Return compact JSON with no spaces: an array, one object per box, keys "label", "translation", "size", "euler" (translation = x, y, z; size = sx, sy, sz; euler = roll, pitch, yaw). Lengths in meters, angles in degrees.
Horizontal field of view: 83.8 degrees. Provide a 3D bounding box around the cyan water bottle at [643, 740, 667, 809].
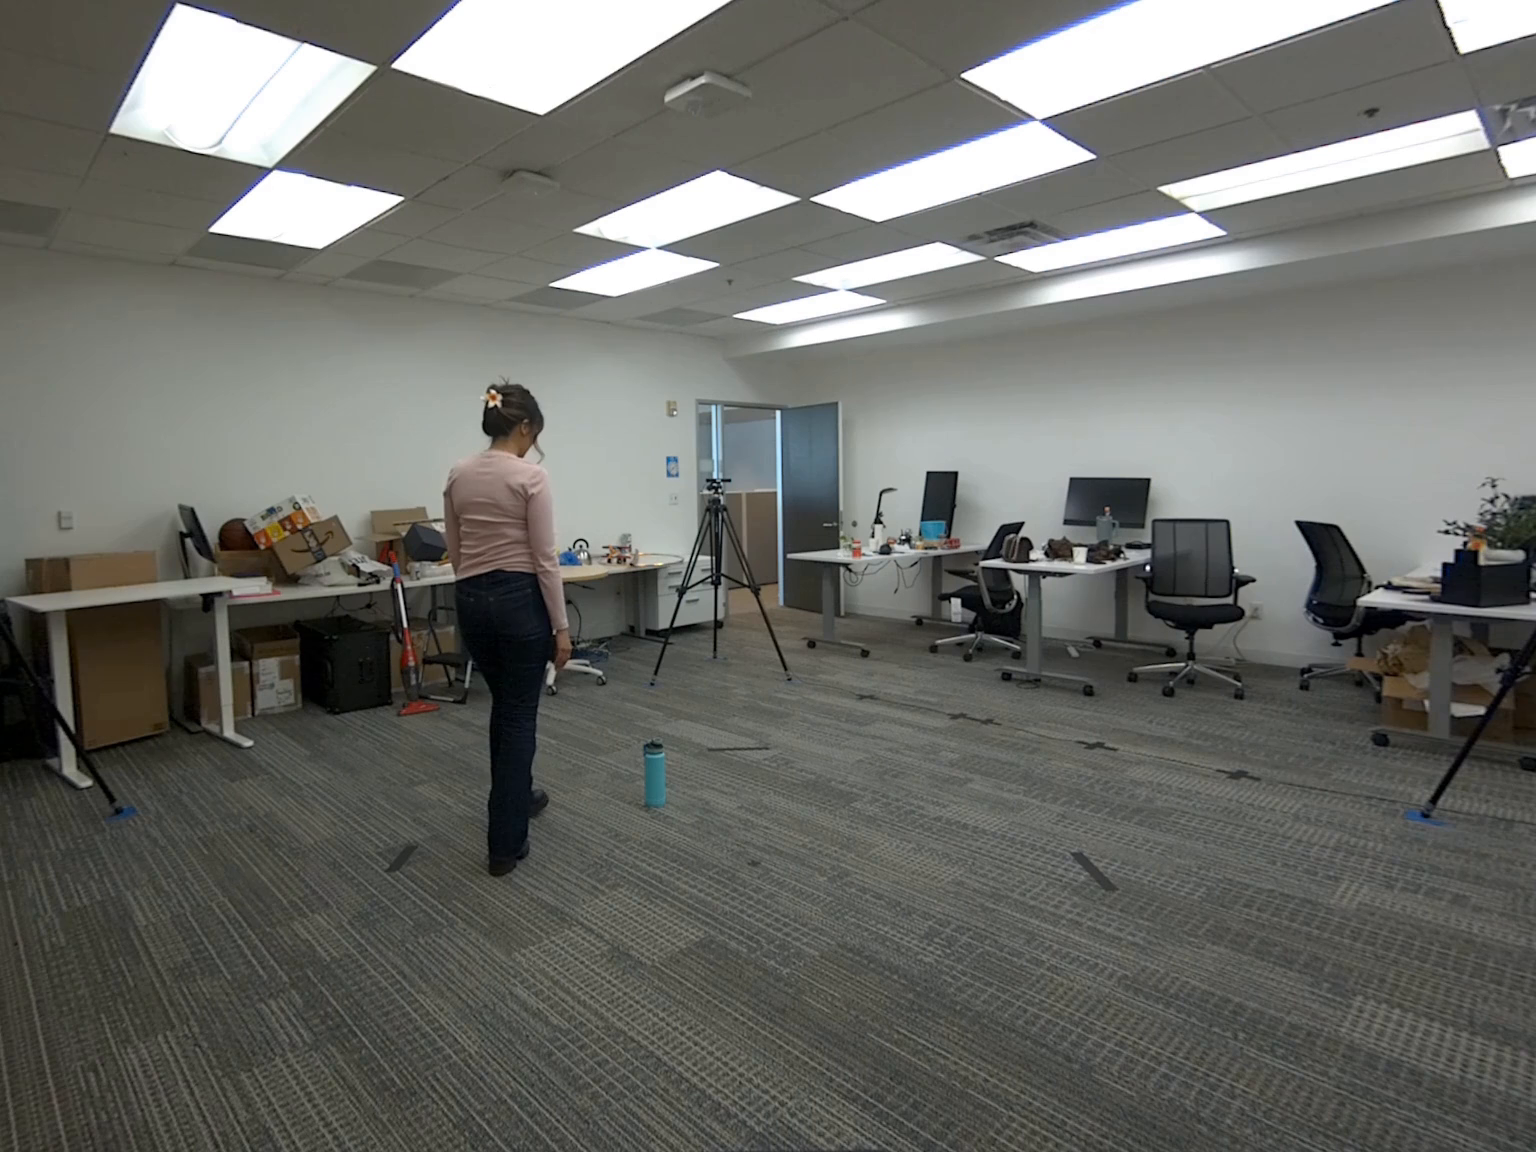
[{"label":"cyan water bottle","translation":[-0.491,0.841,3.687],"size":[0.092,0.282,0.093],"euler":[-1,4,-2]}]
